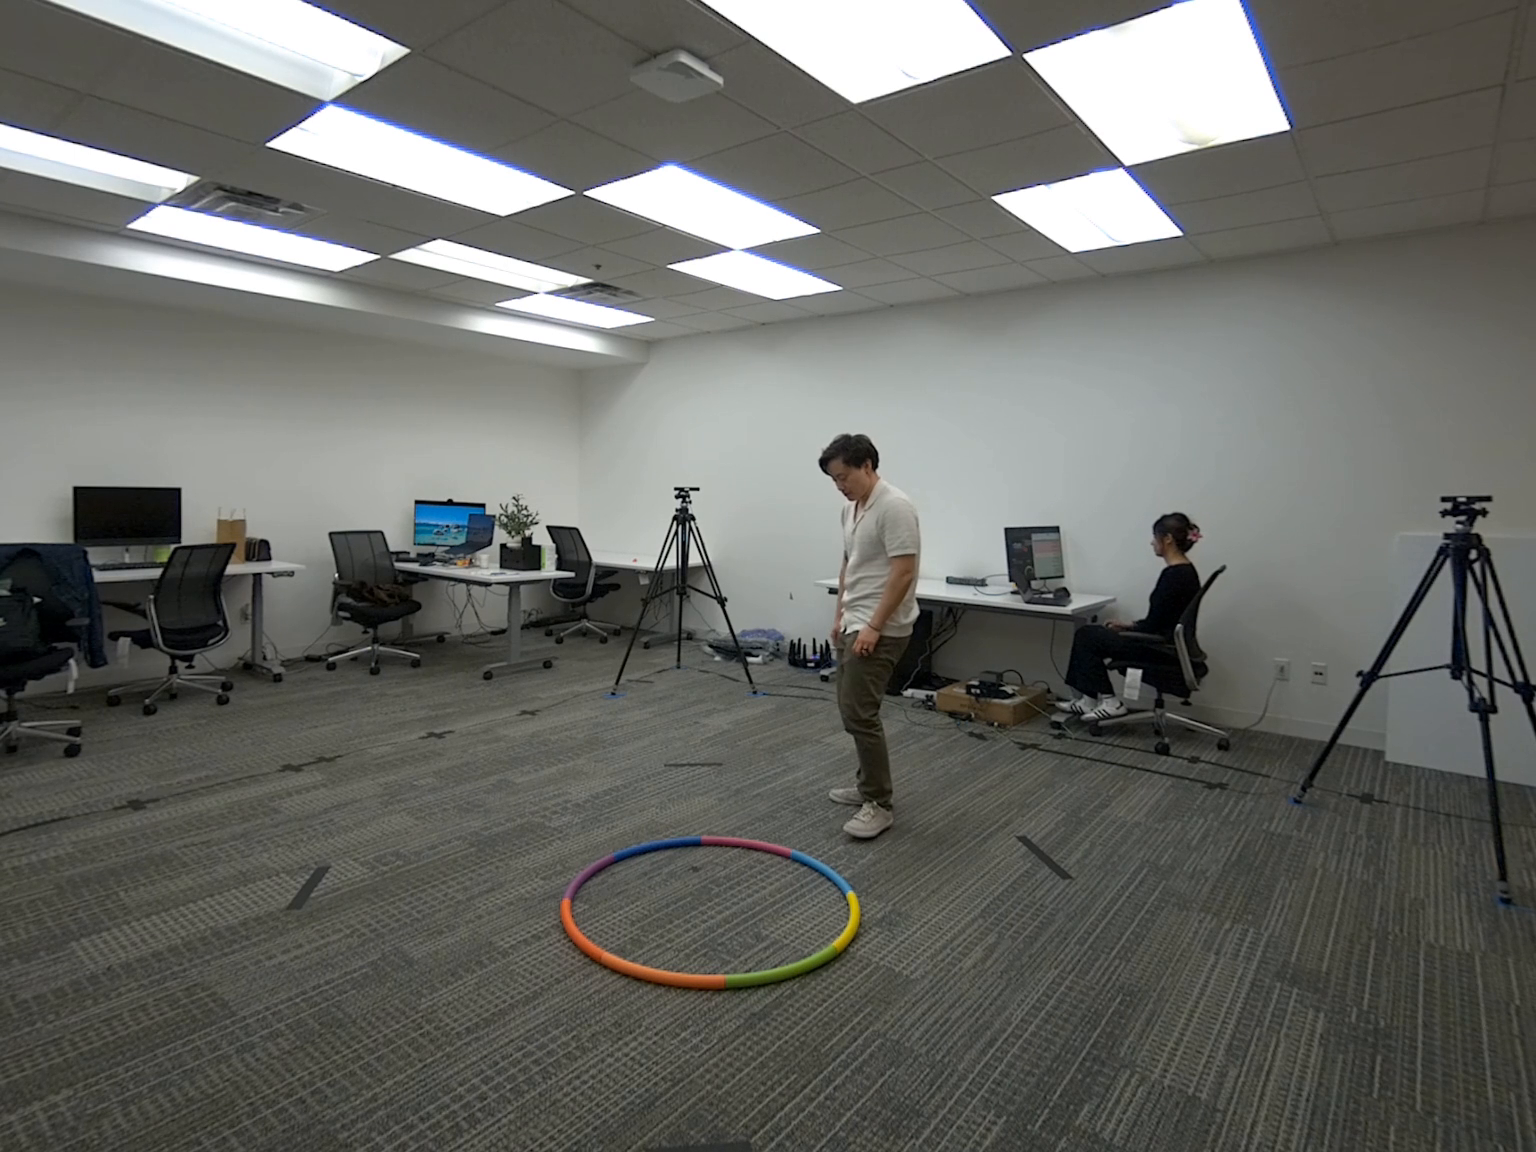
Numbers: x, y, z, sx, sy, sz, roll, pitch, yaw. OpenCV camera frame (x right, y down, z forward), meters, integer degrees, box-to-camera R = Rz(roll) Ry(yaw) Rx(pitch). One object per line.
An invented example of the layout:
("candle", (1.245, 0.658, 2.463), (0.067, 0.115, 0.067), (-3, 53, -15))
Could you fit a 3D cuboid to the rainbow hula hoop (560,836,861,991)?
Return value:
("rainbow hula hoop", (-0.198, 1.063, 2.838), (0.978, 0.035, 0.984), (1, 6, -2))
